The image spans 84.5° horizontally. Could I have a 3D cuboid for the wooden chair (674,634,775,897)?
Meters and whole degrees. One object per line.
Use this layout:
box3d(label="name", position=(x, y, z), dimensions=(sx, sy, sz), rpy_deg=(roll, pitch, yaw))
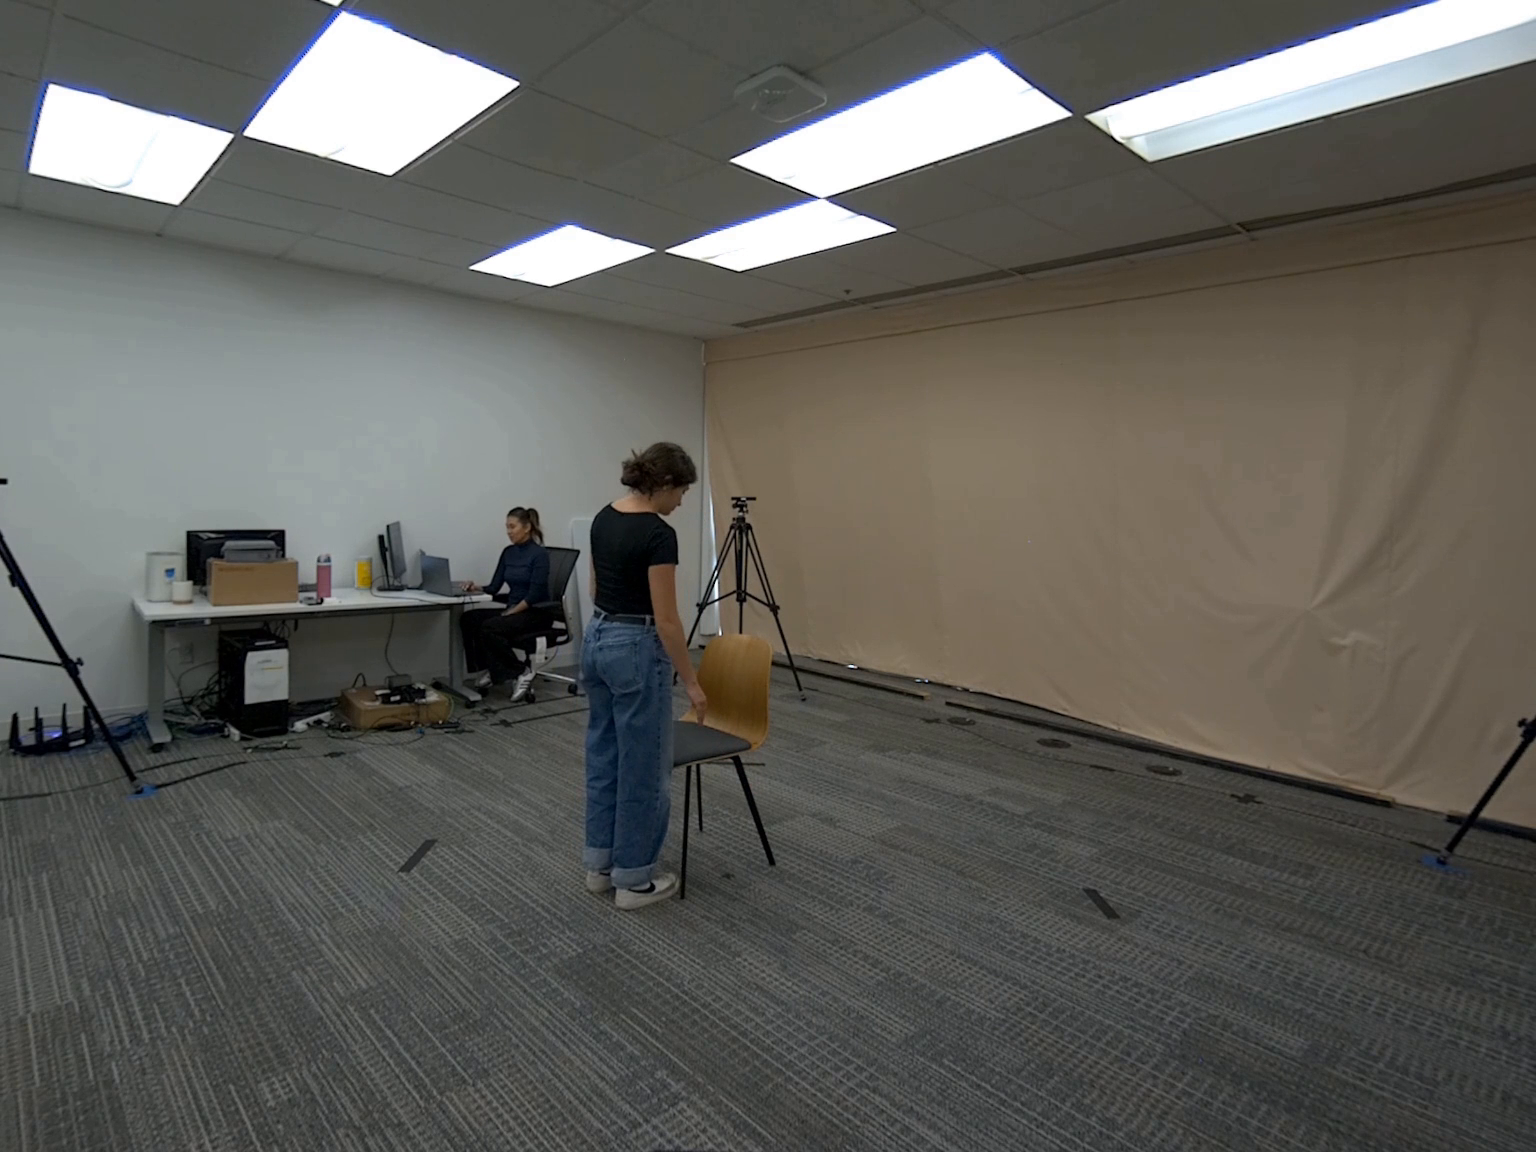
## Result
box3d(label="wooden chair", position=(-0.286, 0.673, 3.192), dimensions=(0.510, 0.877, 0.490), rpy_deg=(3, 1, -42))
